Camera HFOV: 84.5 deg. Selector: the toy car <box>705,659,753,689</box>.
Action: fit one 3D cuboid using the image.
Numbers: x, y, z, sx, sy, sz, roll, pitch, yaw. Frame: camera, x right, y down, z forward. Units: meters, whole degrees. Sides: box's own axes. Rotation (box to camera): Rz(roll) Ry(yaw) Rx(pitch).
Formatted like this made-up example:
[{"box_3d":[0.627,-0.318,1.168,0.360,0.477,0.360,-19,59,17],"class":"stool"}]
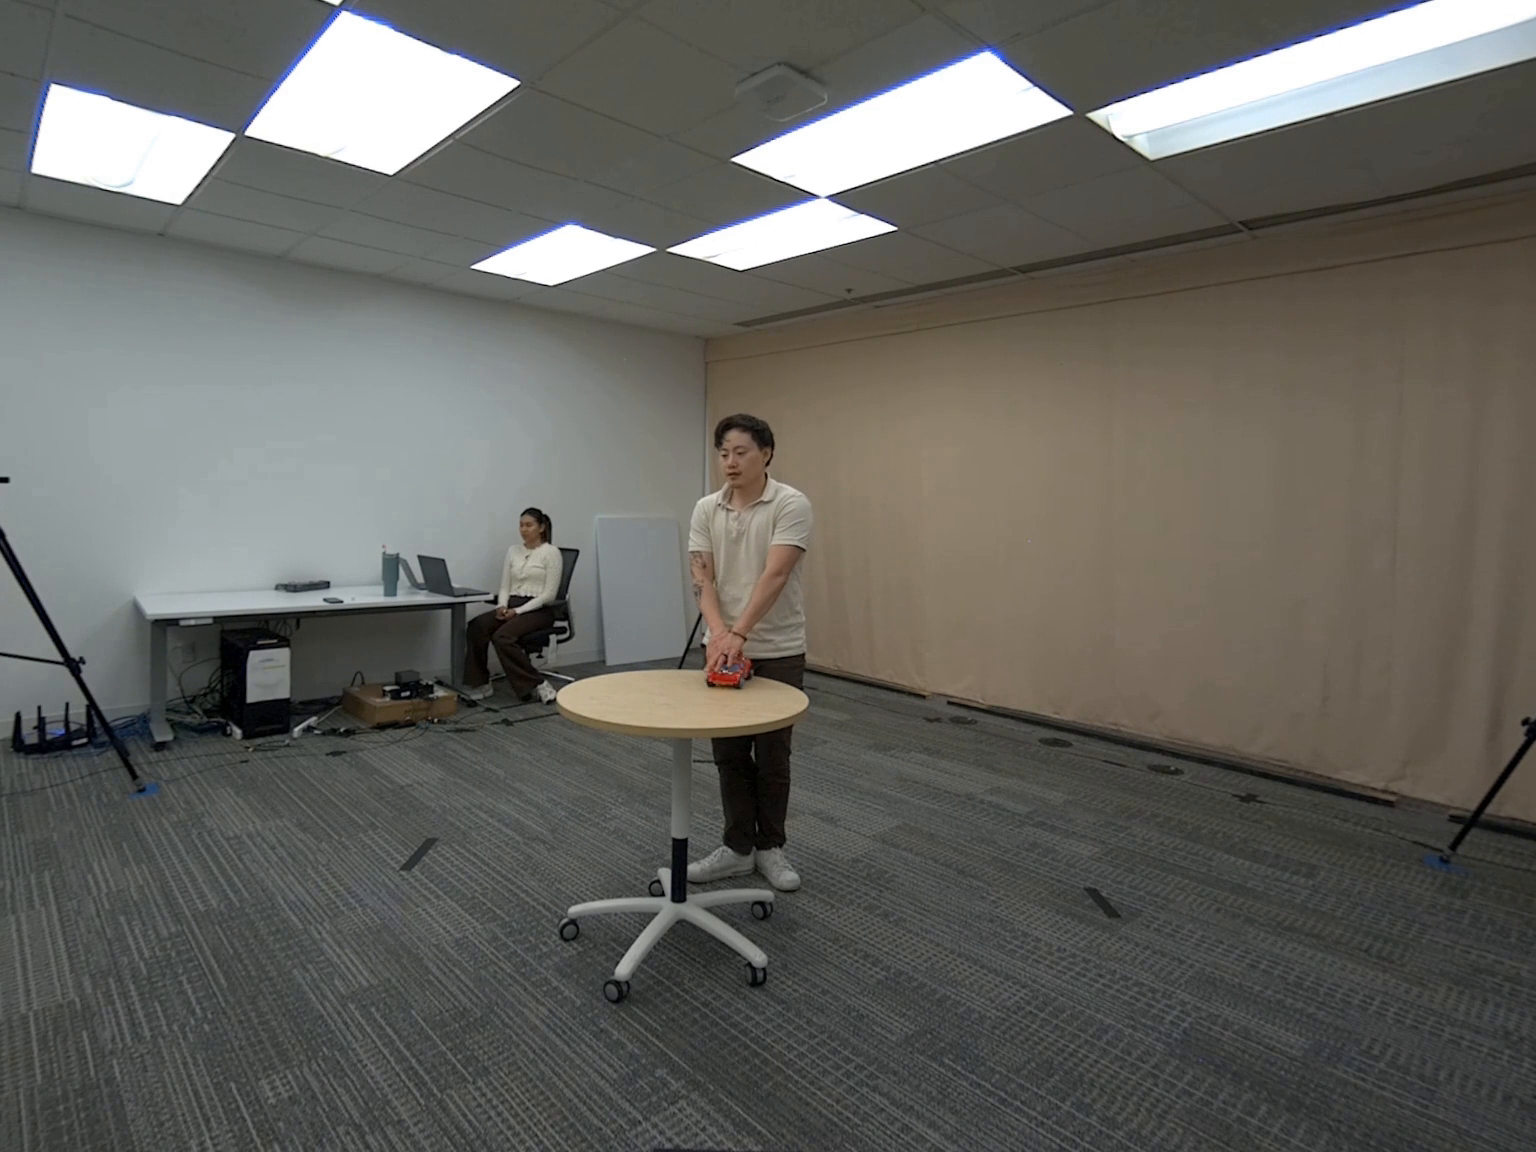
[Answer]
[{"box_3d":[-0.139,0.321,2.783,0.131,0.082,0.255,4,17,11],"class":"toy car"}]
